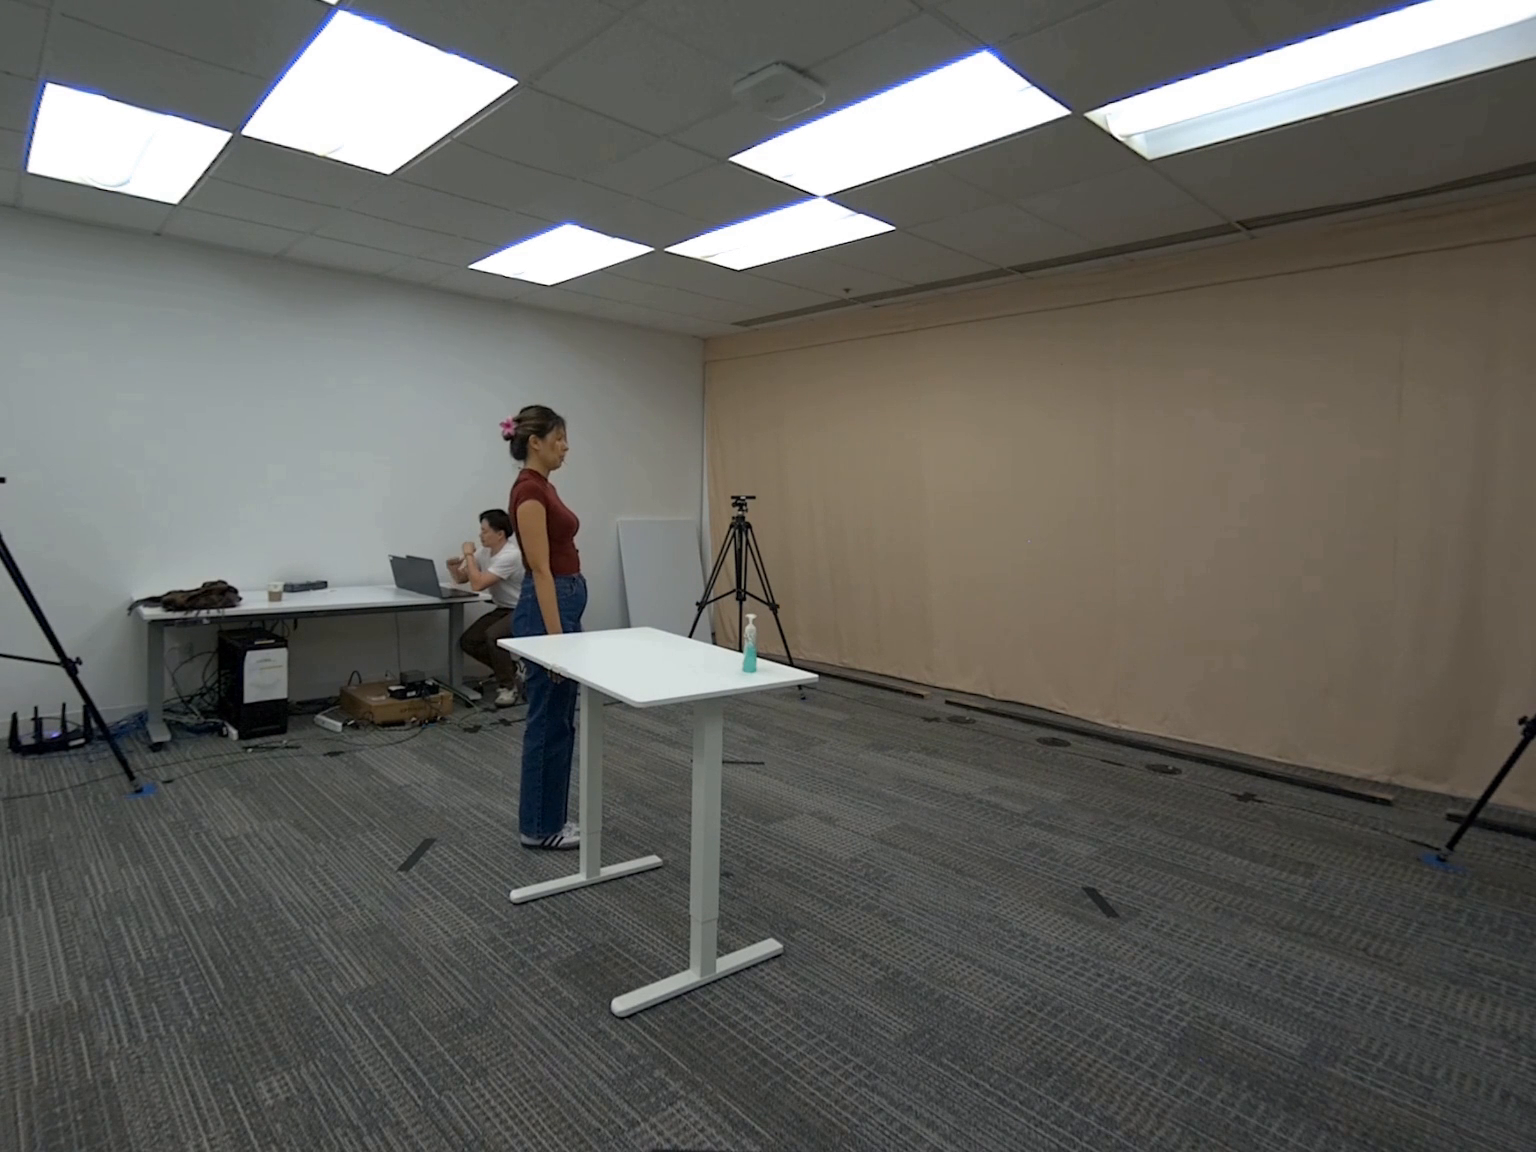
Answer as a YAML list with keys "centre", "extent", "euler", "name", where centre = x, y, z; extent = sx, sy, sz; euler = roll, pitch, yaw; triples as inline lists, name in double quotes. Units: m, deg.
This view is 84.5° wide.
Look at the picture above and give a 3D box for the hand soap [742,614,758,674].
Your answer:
- centre: [-0.065, 0.198, 2.479]
  extent: [0.043, 0.167, 0.085]
  euler: [4, 5, 0]
  name: "hand soap"
